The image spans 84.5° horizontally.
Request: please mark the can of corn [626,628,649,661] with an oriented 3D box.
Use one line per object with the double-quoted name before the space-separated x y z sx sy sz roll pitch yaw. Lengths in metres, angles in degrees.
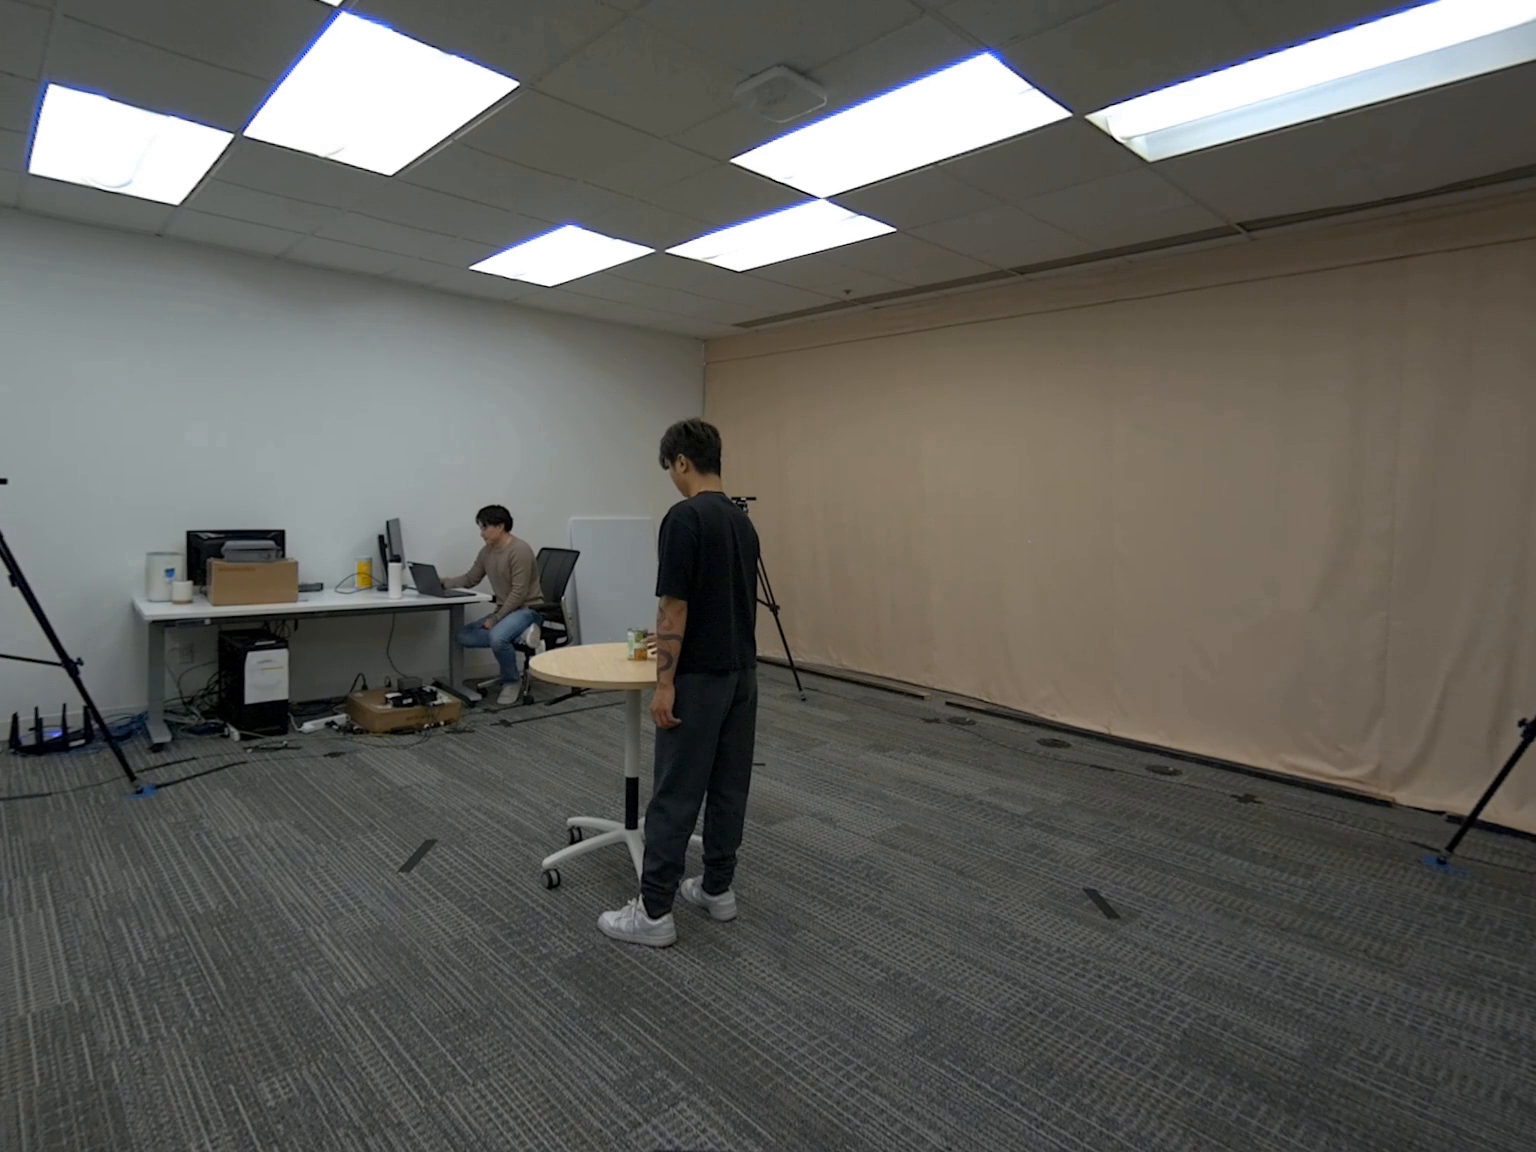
"can of corn" -0.491 0.257 3.152 0.074 0.111 0.074 1 -1 -1
